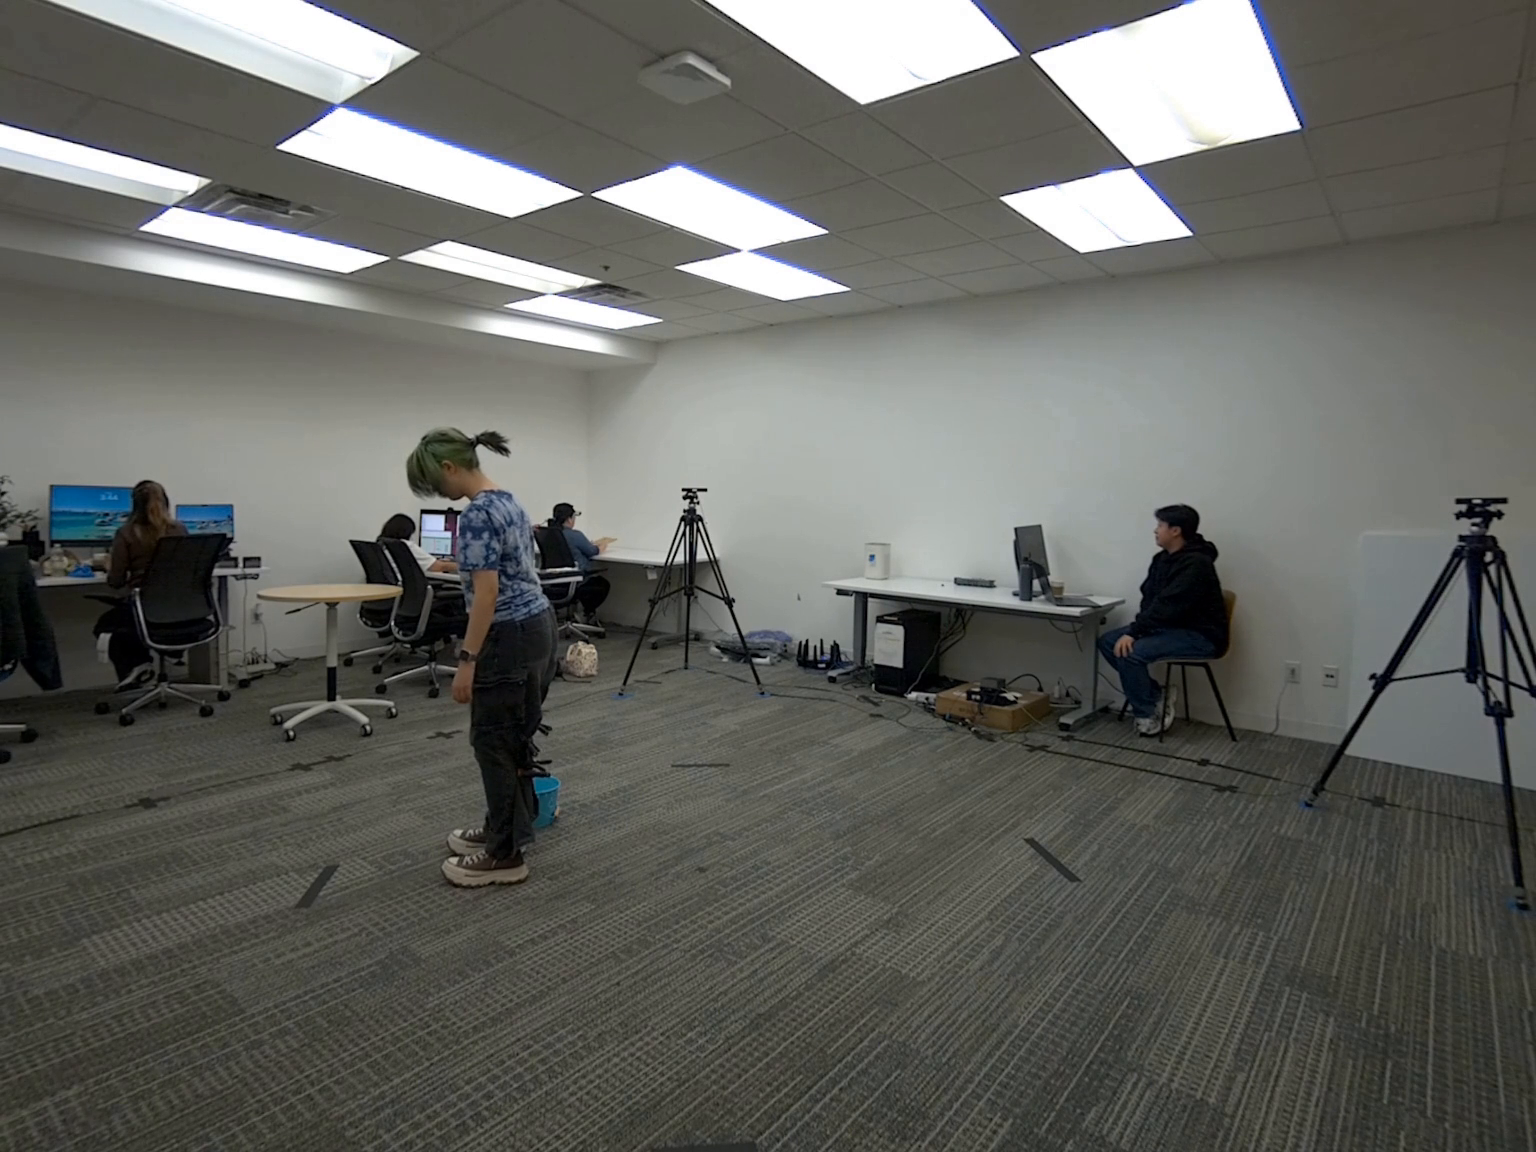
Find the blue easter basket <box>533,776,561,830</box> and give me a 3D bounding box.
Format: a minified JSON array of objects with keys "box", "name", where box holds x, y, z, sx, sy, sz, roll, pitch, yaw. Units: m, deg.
[{"box":[-0.998,0.937,3.546,0.243,0.155,0.245,0,5,-2],"name":"blue easter basket"}]
